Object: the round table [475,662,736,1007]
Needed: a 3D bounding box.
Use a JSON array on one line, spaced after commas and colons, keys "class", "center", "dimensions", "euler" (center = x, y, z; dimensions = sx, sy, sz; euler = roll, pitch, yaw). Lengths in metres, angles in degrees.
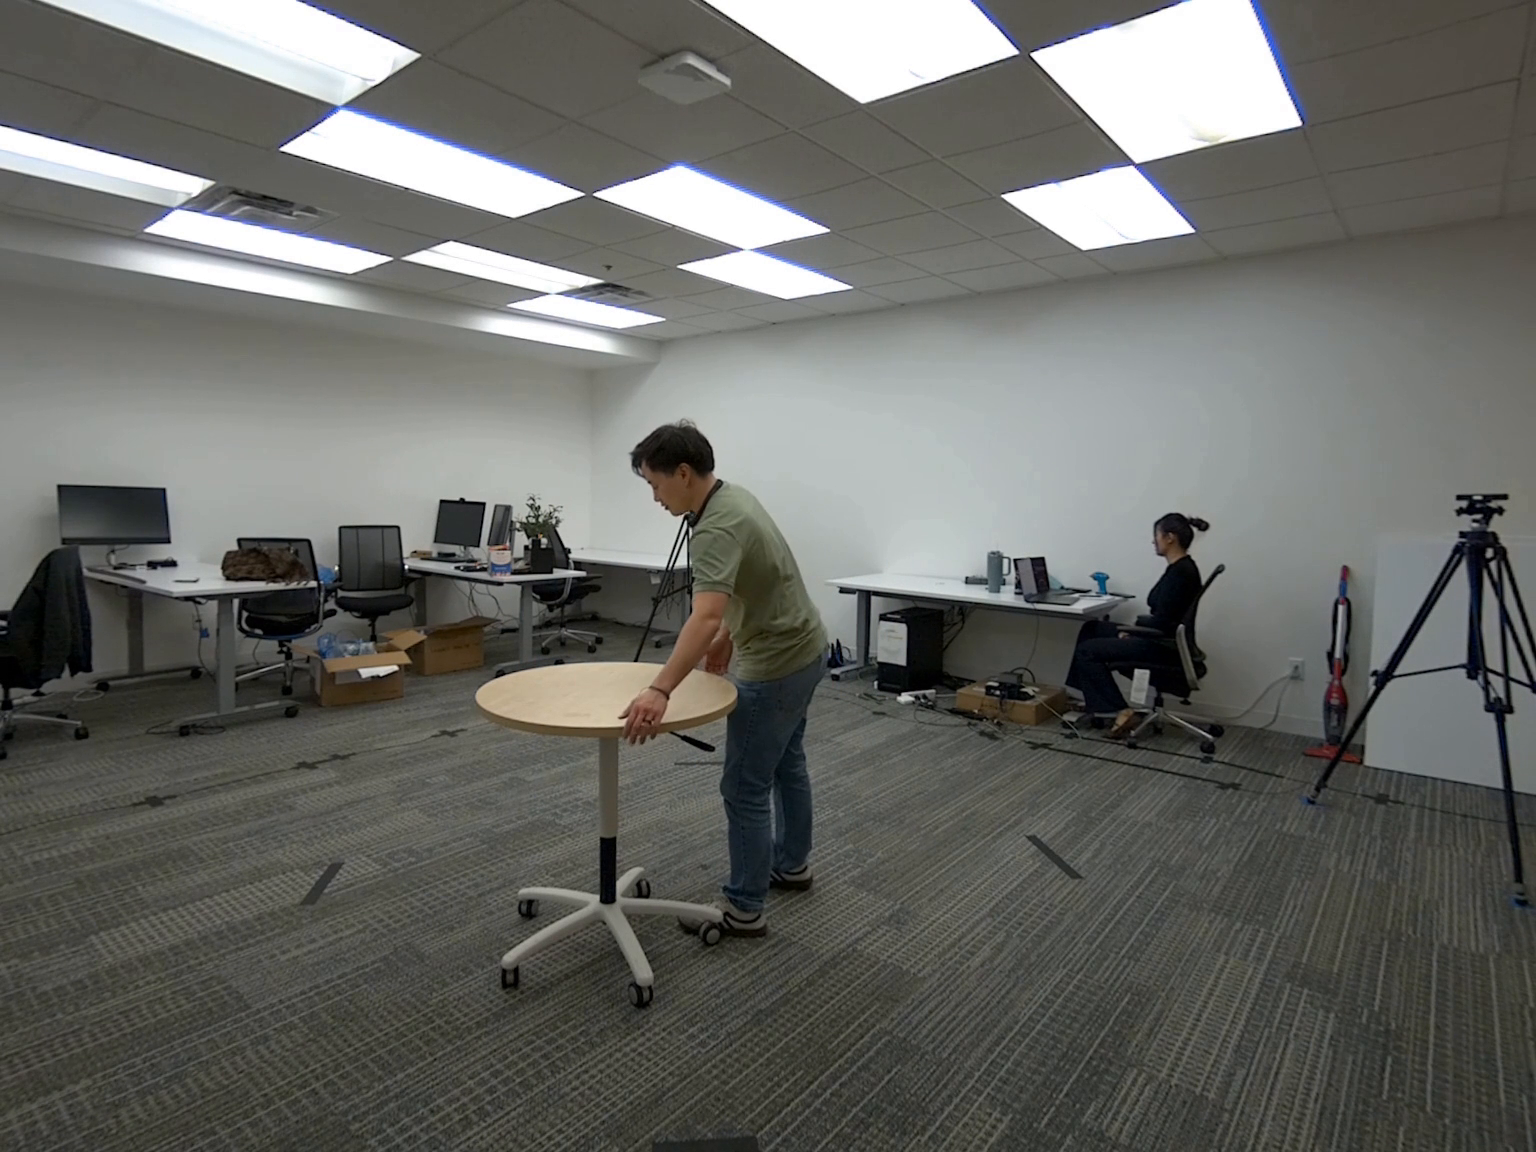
[{"class": "round table", "center": [-0.488, 0.729, 2.551], "dimensions": [0.763, 0.791, 0.768], "euler": [0, 5, -2]}]
